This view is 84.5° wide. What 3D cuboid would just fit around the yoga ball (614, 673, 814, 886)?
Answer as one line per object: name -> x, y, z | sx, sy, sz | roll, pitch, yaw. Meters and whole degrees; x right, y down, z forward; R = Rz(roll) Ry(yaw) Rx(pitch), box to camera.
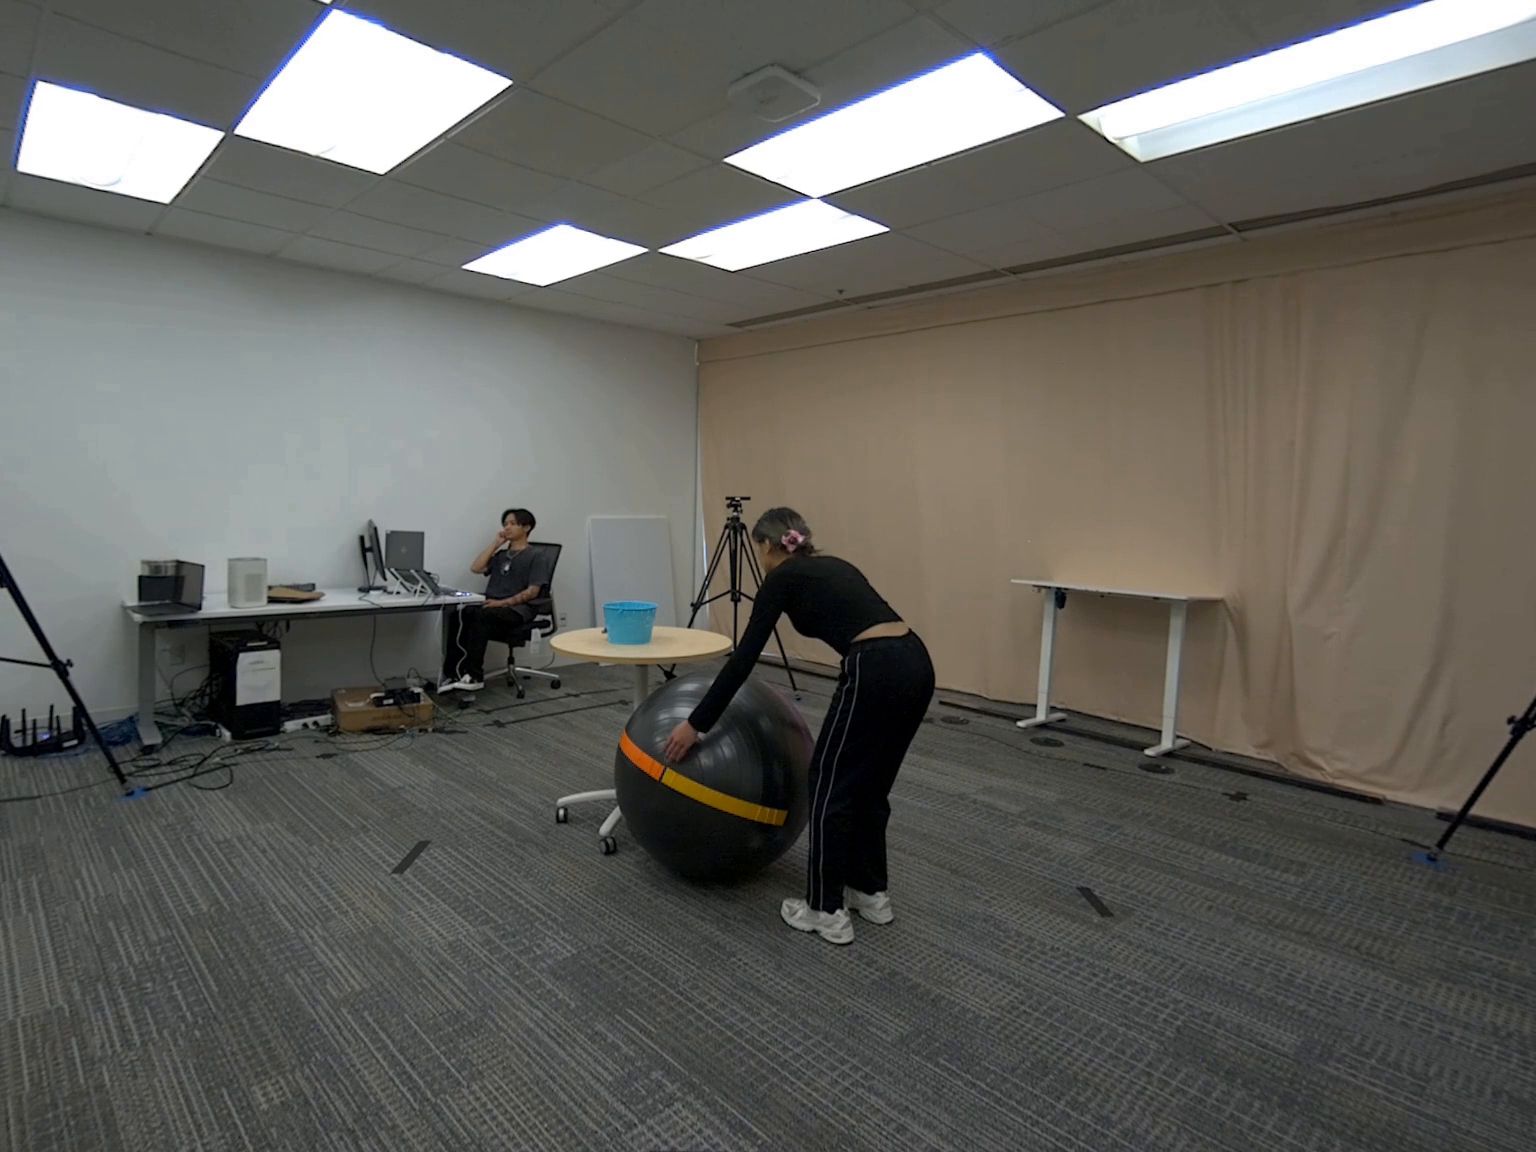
yoga ball -> -0.199, 0.742, 3.147 | 0.757, 0.756, 0.761 | 1, 4, -1
